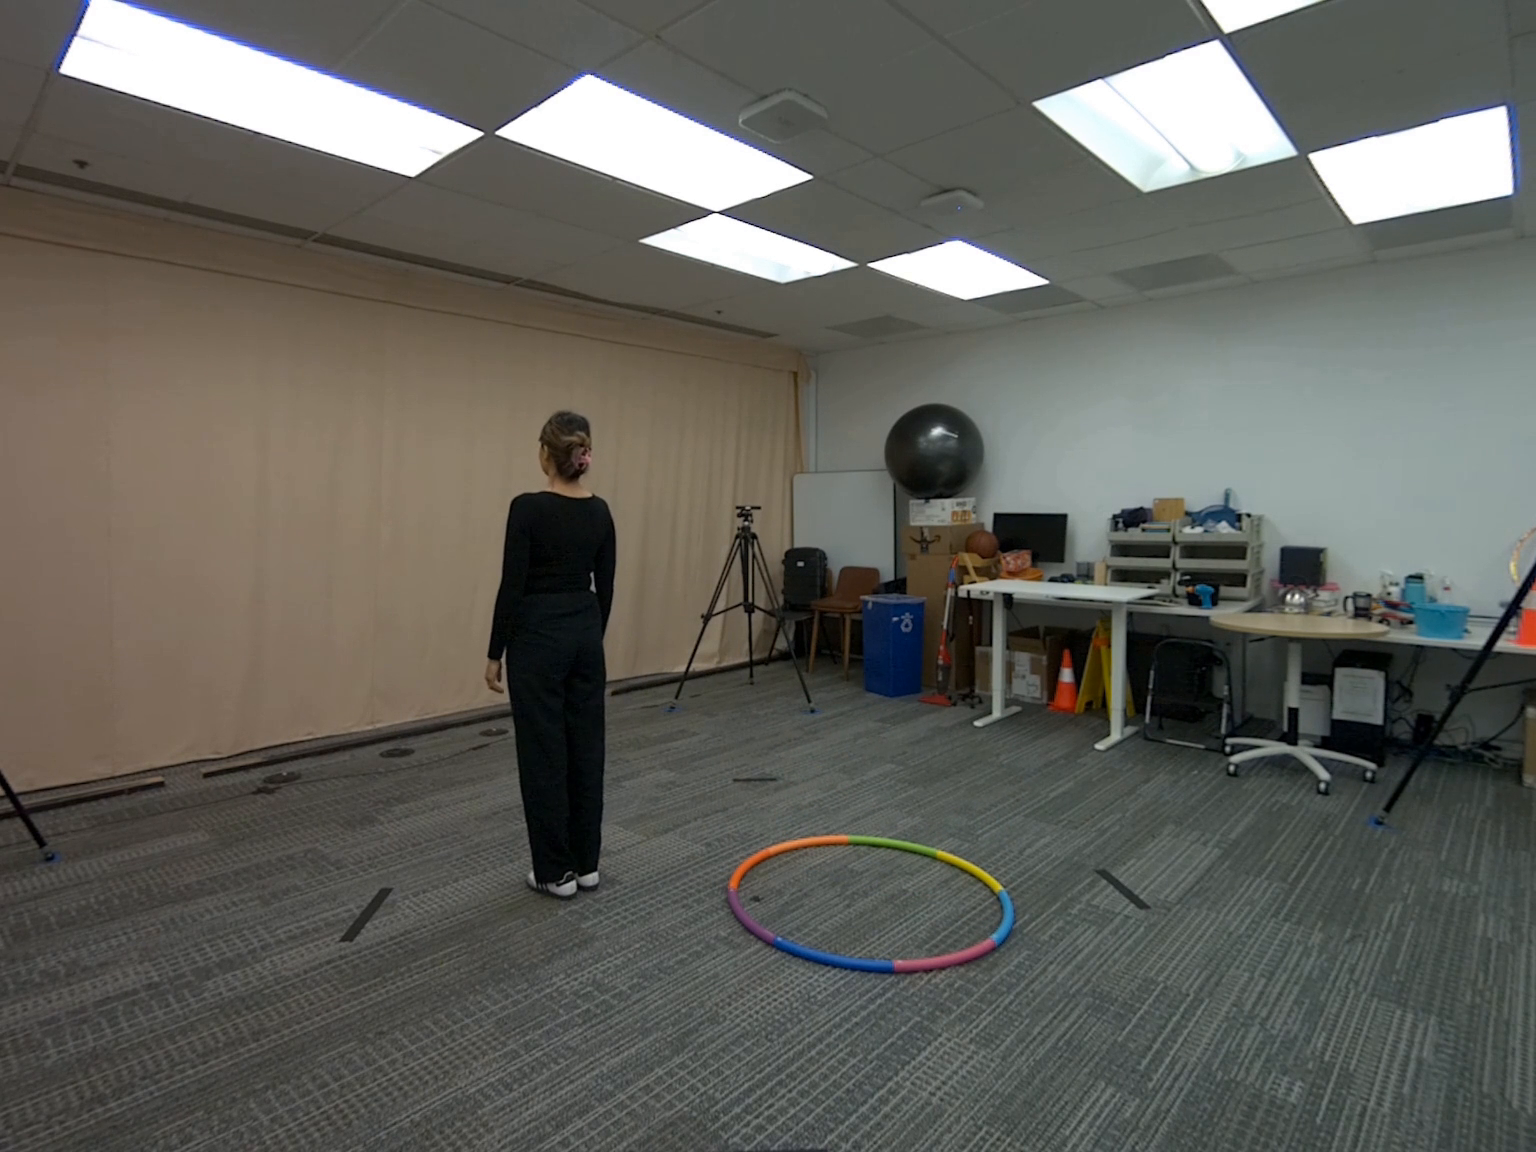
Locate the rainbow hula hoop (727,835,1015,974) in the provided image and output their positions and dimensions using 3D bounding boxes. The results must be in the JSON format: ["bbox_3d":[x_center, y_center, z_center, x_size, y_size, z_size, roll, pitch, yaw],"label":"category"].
[{"bbox_3d":[0.344,1.109,2.988,0.978,0.035,0.982,-1,5,-2],"label":"rainbow hula hoop"}]
